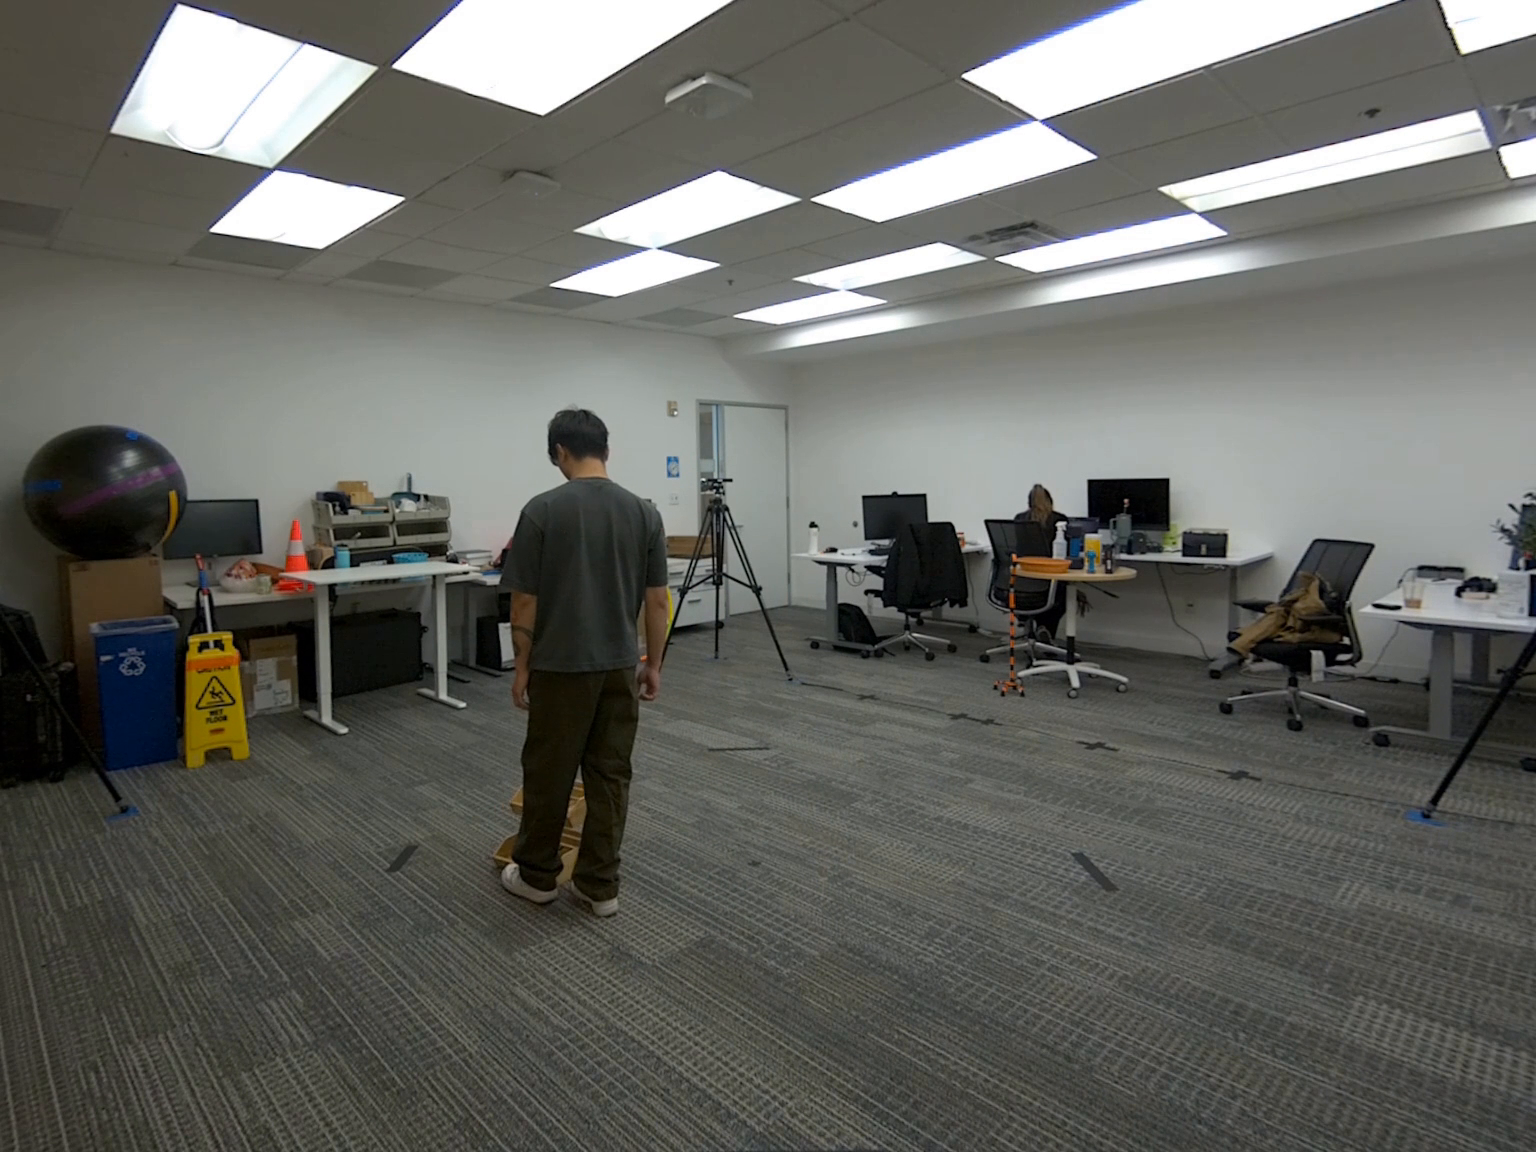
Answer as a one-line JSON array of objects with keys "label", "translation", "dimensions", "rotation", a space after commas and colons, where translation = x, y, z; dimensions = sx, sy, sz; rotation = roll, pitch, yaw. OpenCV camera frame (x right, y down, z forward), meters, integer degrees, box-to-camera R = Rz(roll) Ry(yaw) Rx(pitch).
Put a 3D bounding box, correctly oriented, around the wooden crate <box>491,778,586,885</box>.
[{"label": "wooden crate", "translation": [-0.798, 0.924, 3.132], "dimensions": [0.333, 0.272, 0.295], "rotation": [2, 6, 32]}]
